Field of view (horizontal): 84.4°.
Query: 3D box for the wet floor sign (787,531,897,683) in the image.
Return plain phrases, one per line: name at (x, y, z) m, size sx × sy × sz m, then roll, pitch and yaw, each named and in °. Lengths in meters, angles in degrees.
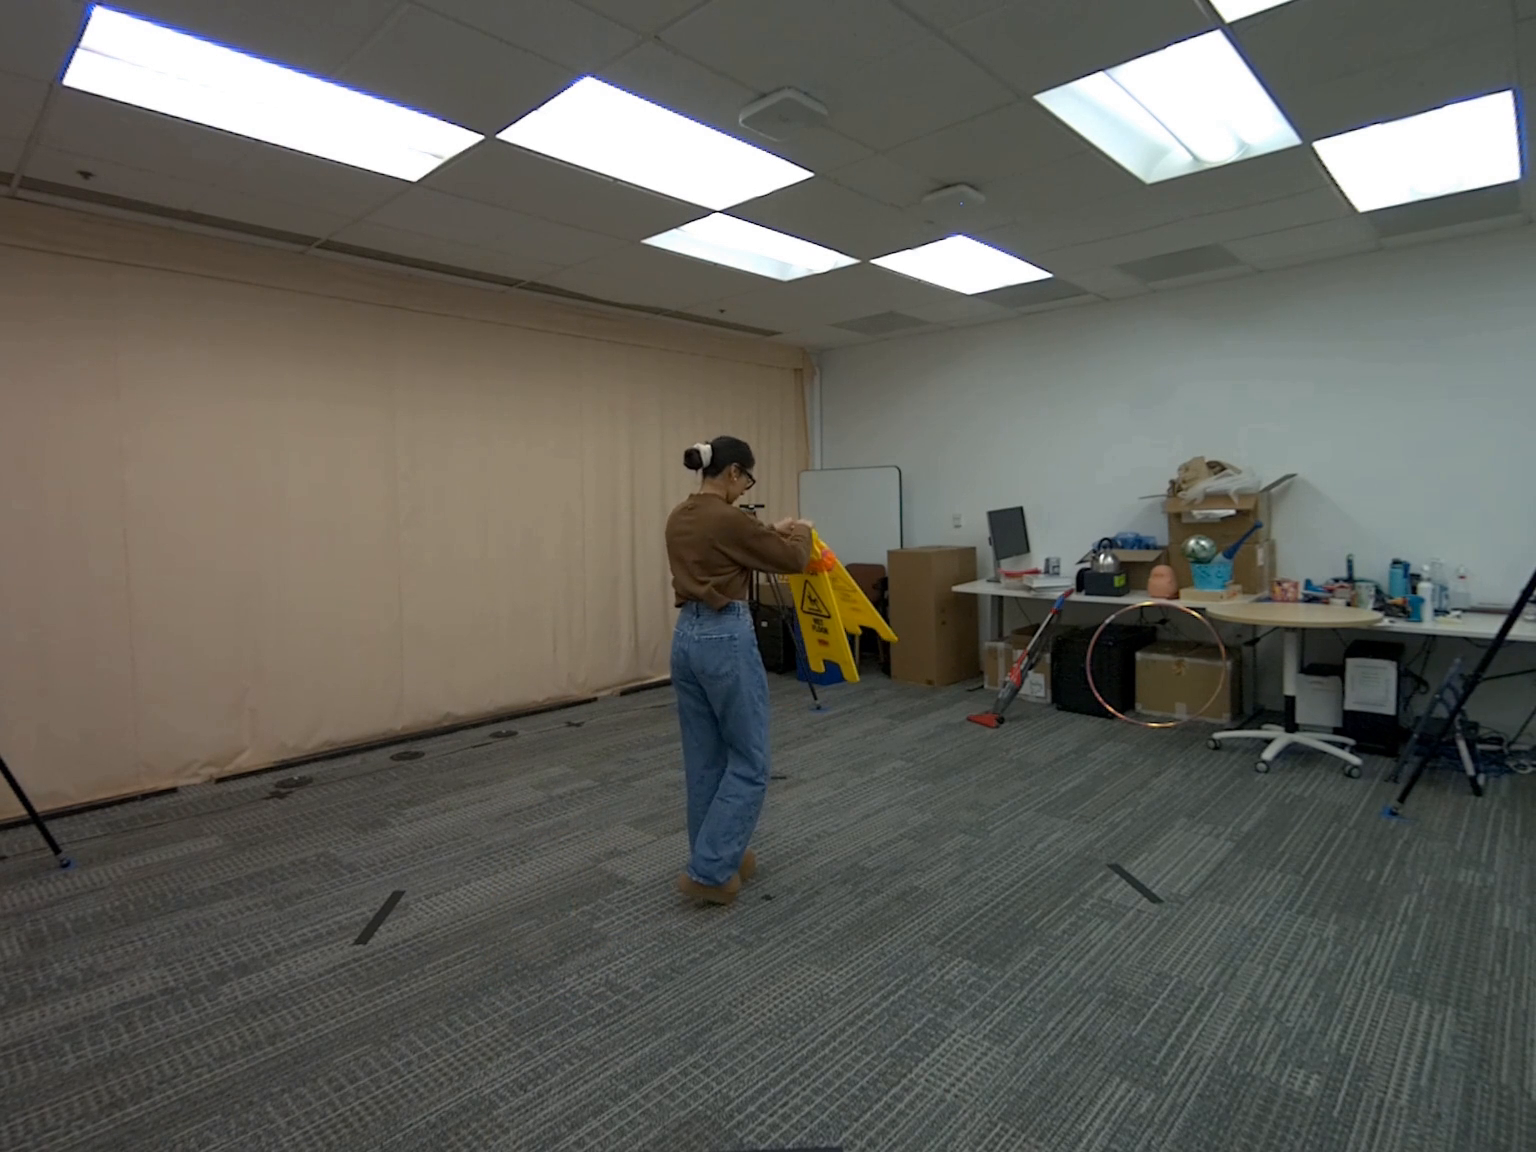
wet floor sign at (0.232, 0.076, 3.395) m, size 0.286 × 0.633 × 0.291 m, roll -38°, pitch 26°, yaw -29°
